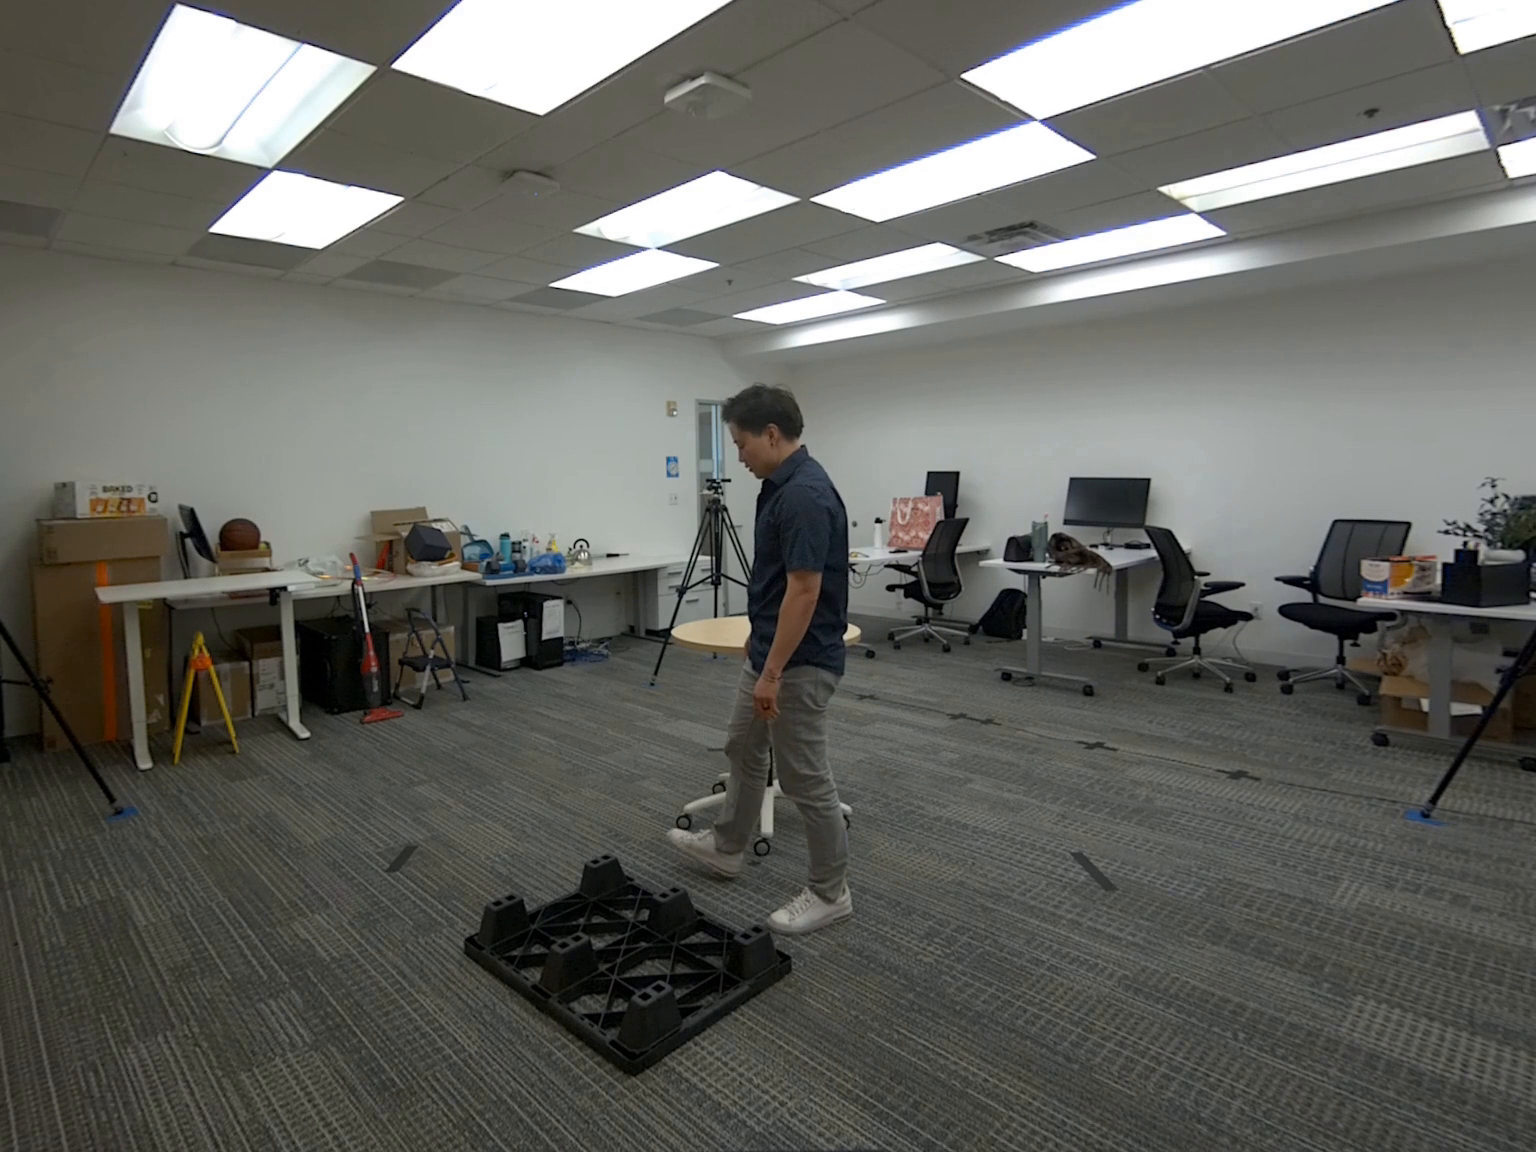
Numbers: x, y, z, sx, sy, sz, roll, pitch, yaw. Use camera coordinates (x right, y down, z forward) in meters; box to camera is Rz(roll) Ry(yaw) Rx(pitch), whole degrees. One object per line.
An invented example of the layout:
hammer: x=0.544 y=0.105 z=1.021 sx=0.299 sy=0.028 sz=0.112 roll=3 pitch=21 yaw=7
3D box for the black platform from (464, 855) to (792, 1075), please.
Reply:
black platform: x=-0.422 y=1.058 z=2.489 sx=0.830 sy=0.143 sz=0.589 roll=5 pitch=8 yaw=42
